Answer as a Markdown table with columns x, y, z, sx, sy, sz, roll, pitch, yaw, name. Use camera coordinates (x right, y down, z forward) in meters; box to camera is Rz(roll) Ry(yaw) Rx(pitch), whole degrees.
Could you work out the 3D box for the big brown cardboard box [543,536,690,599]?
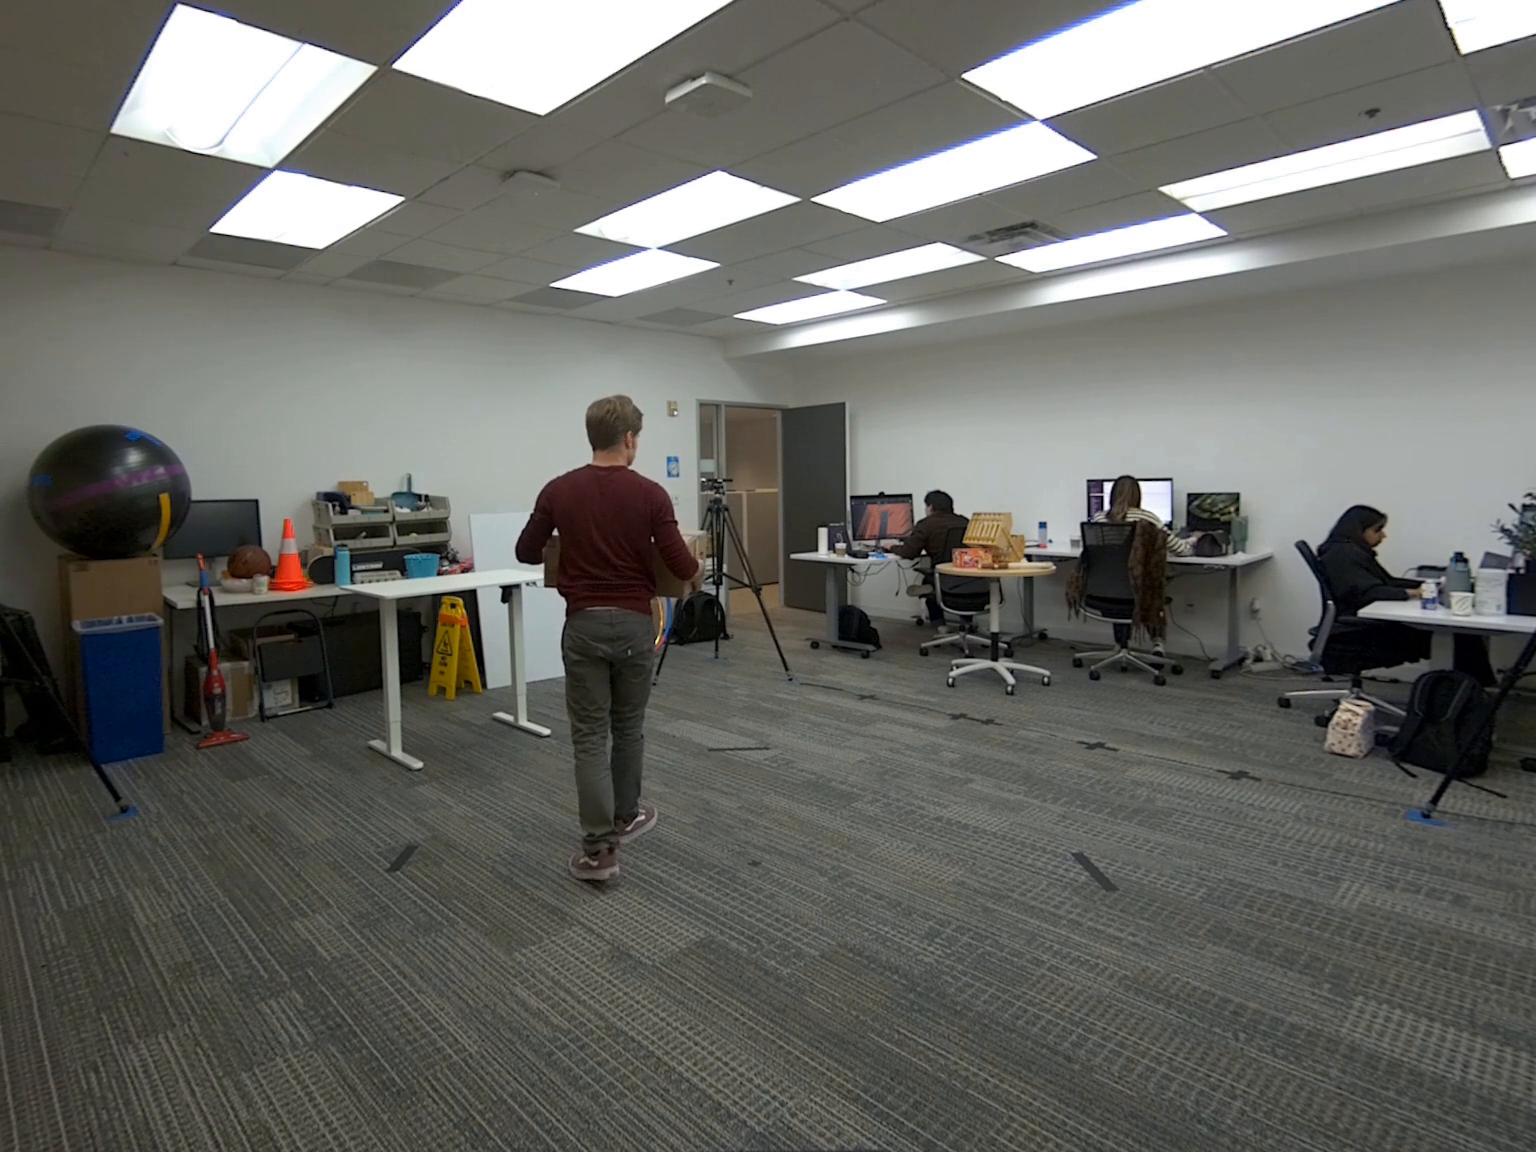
| x | y | z | sx | sy | sz | roll | pitch | yaw | name |
| --- | --- | --- | --- | --- | --- | --- | --- | --- | --- |
| -0.562 | -0.073 | 3.481 | 0.594 | 0.231 | 0.417 | 5 | 10 | 7 | big brown cardboard box |
